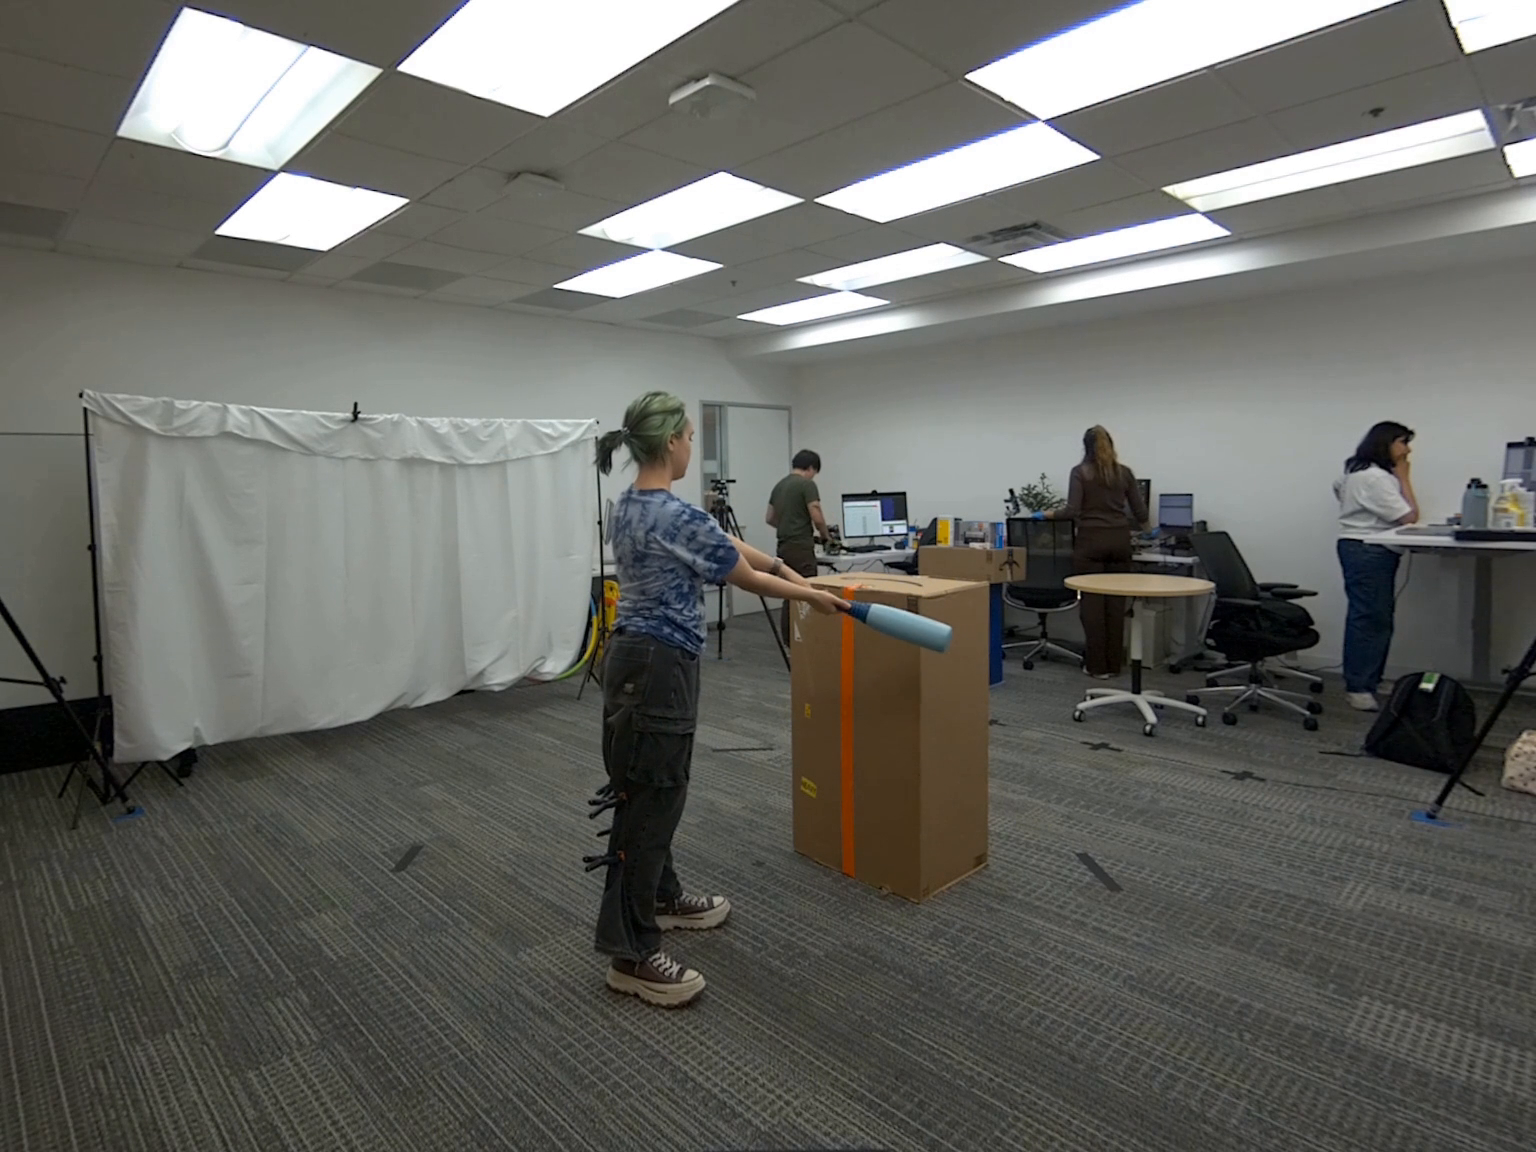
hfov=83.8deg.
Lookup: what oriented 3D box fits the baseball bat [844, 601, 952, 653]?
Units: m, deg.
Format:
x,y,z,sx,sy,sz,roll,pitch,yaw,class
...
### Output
x,y,z,sx,sy,sz,roll,pitch,yaw,class
0.298,0.109,2.626,0.555,0.088,0.087,18,10,19,baseball bat
